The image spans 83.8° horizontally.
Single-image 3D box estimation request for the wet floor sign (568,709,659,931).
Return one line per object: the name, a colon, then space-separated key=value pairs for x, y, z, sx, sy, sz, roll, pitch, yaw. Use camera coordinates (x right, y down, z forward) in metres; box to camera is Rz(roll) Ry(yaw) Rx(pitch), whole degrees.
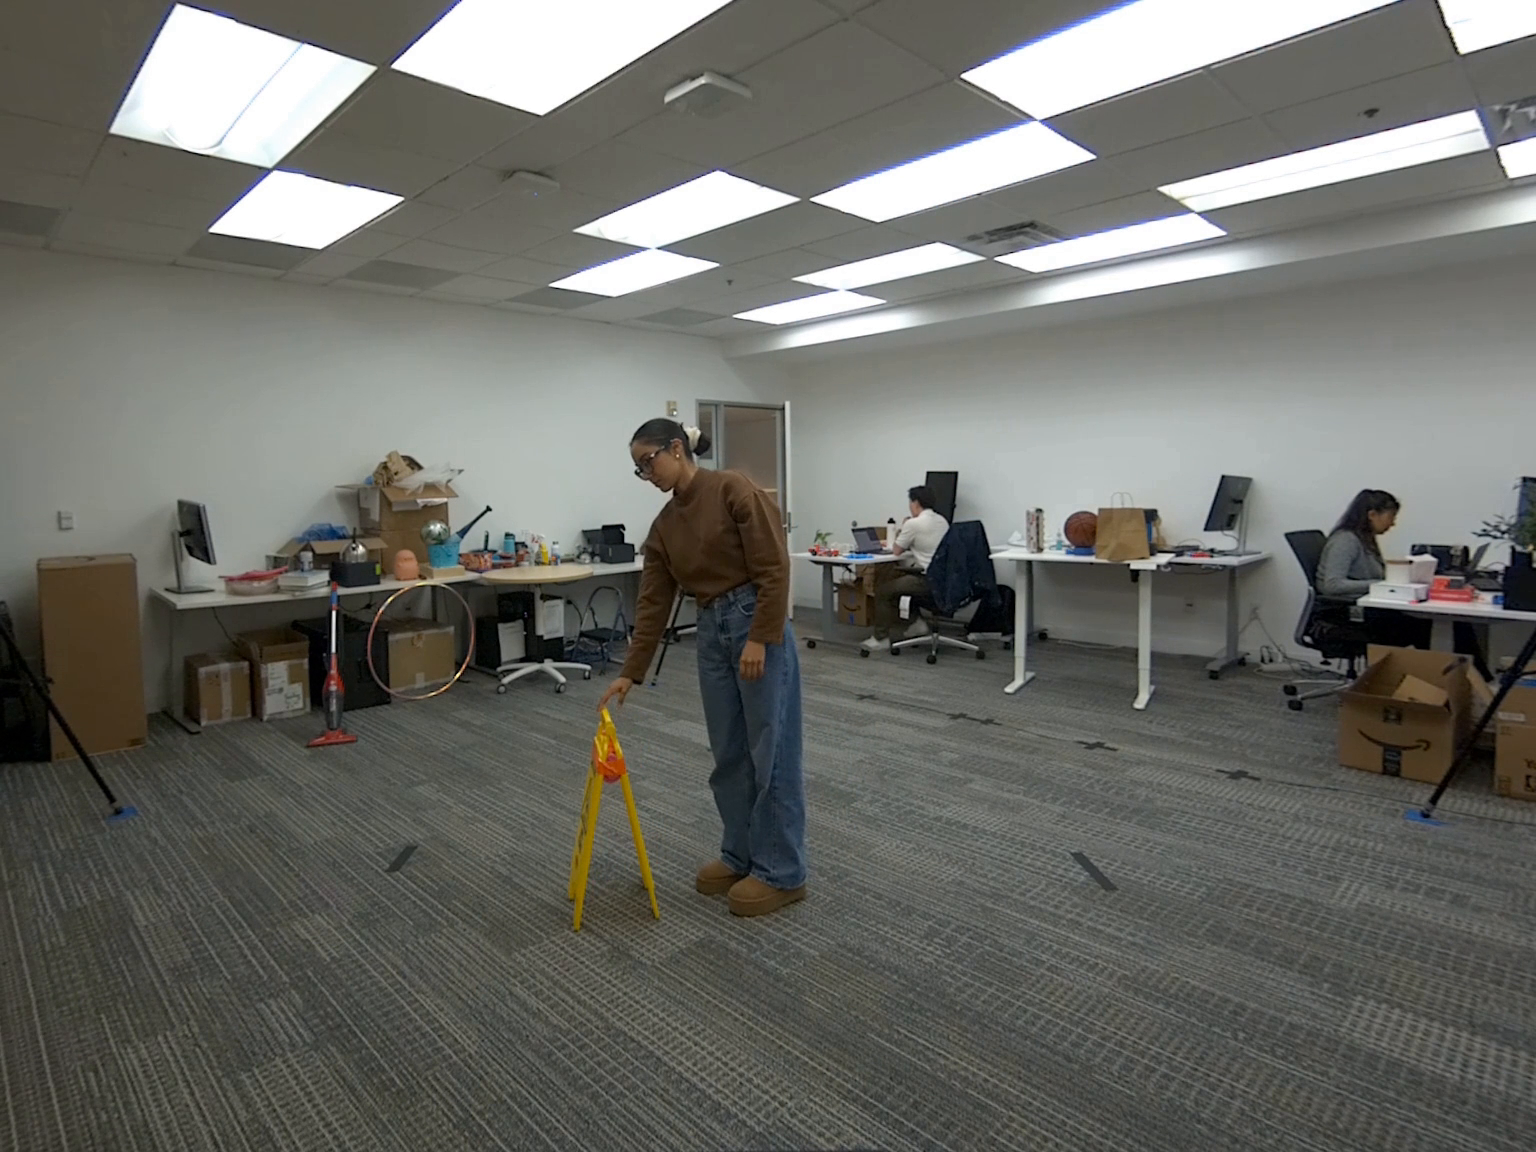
wet floor sign: x=-0.515 y=0.763 z=2.797 sx=0.286 sy=0.644 sz=0.287 roll=-3 pitch=3 yaw=-15
